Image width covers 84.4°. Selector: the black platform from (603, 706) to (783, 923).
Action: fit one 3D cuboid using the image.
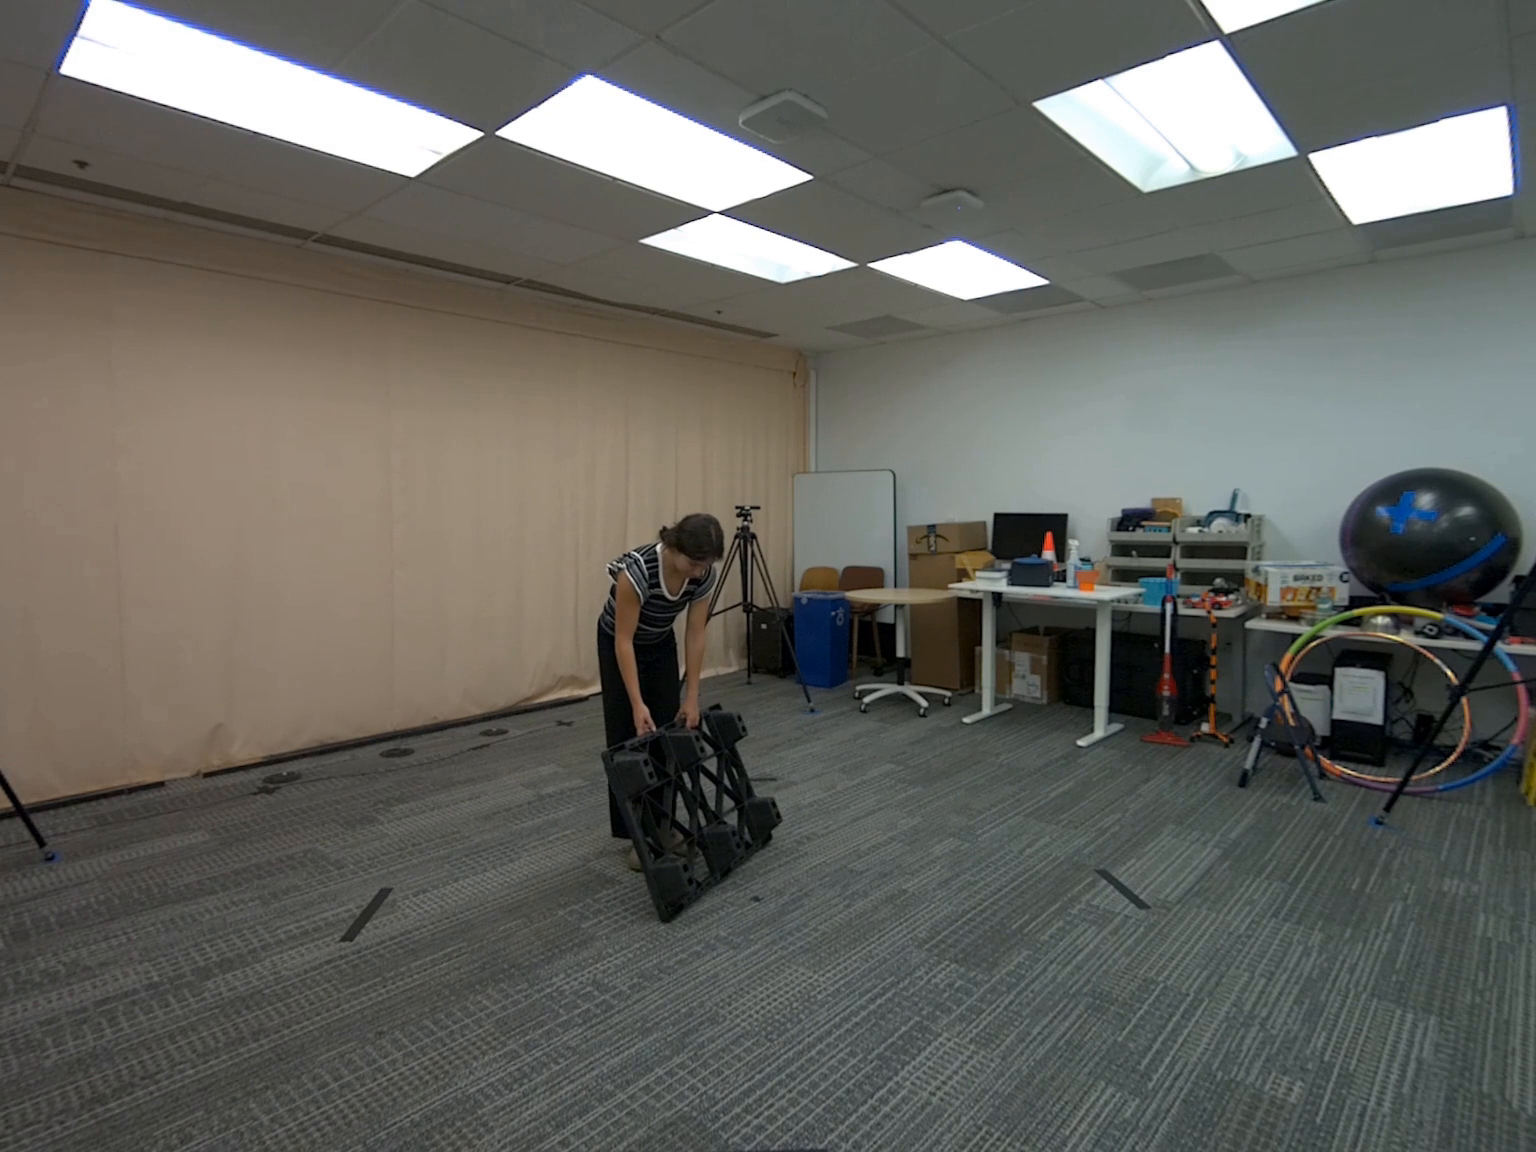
[{"bbox_3d":[-0.239,0.826,3.173,0.146,0.610,0.786,-26,-8,26],"label":"black platform"}]
